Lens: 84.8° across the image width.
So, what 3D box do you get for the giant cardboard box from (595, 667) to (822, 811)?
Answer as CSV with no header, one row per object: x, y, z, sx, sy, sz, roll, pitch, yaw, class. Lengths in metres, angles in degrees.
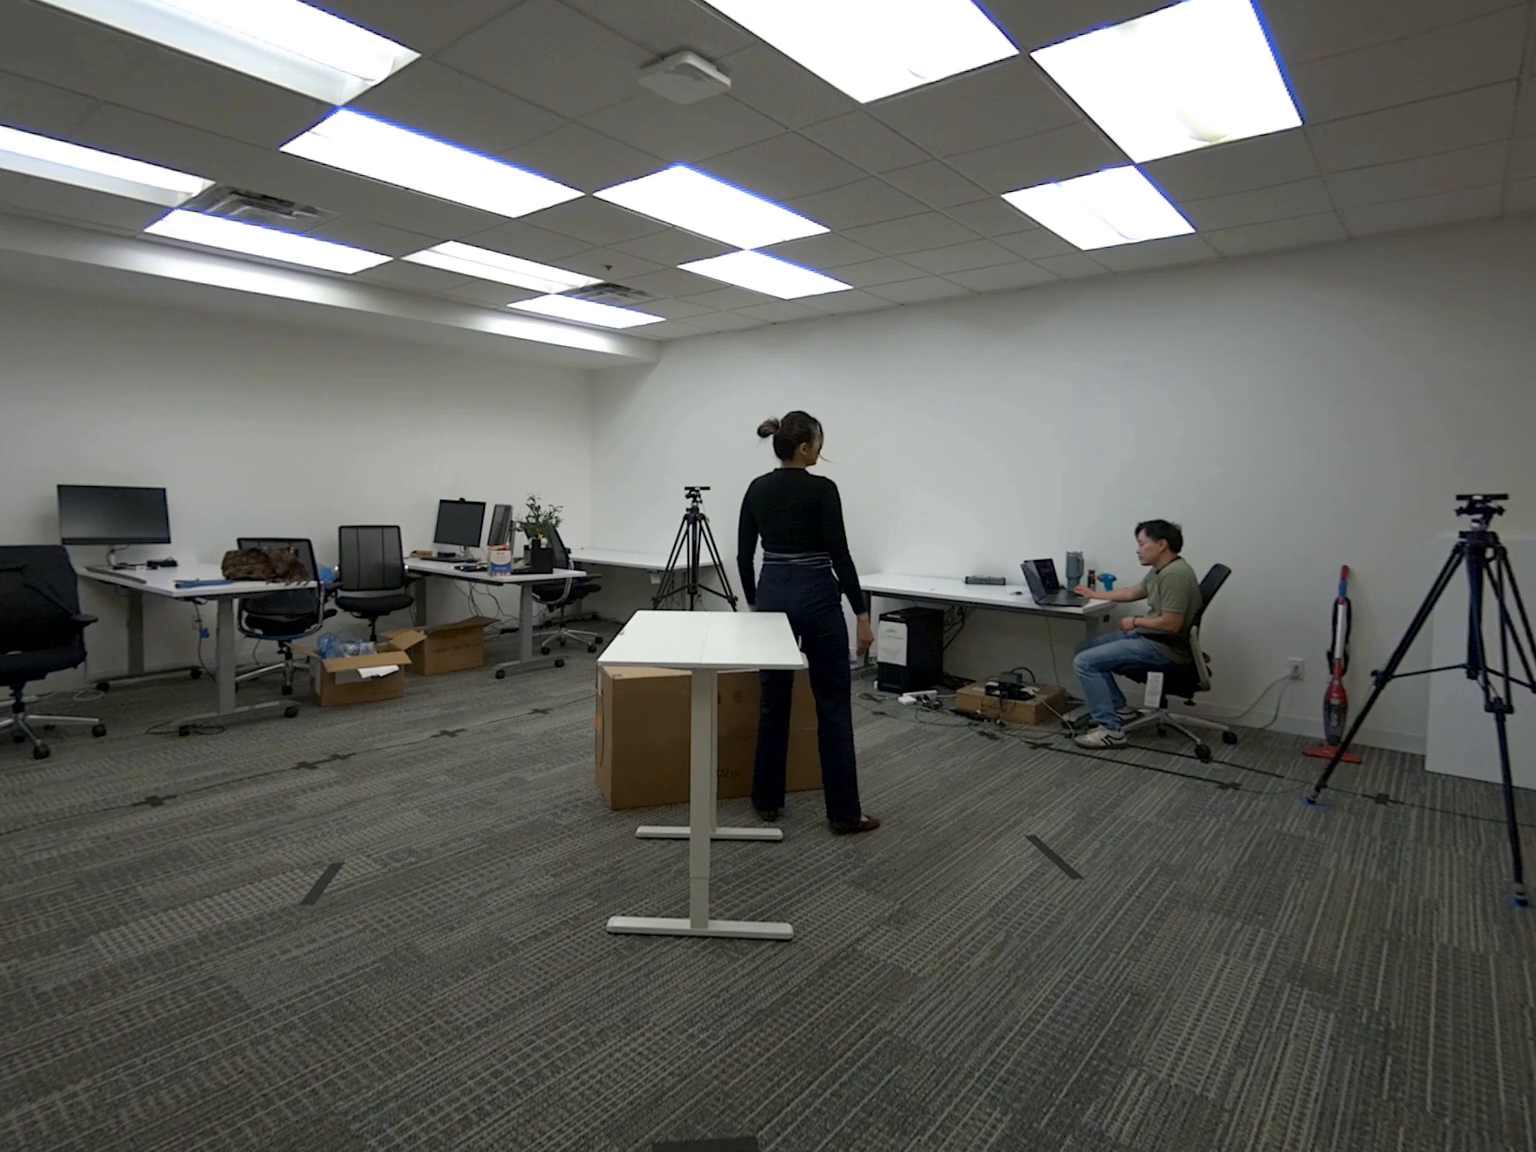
-0.285,0.685,3.998,1.007,0.576,0.435,-1,4,-18,giant cardboard box
